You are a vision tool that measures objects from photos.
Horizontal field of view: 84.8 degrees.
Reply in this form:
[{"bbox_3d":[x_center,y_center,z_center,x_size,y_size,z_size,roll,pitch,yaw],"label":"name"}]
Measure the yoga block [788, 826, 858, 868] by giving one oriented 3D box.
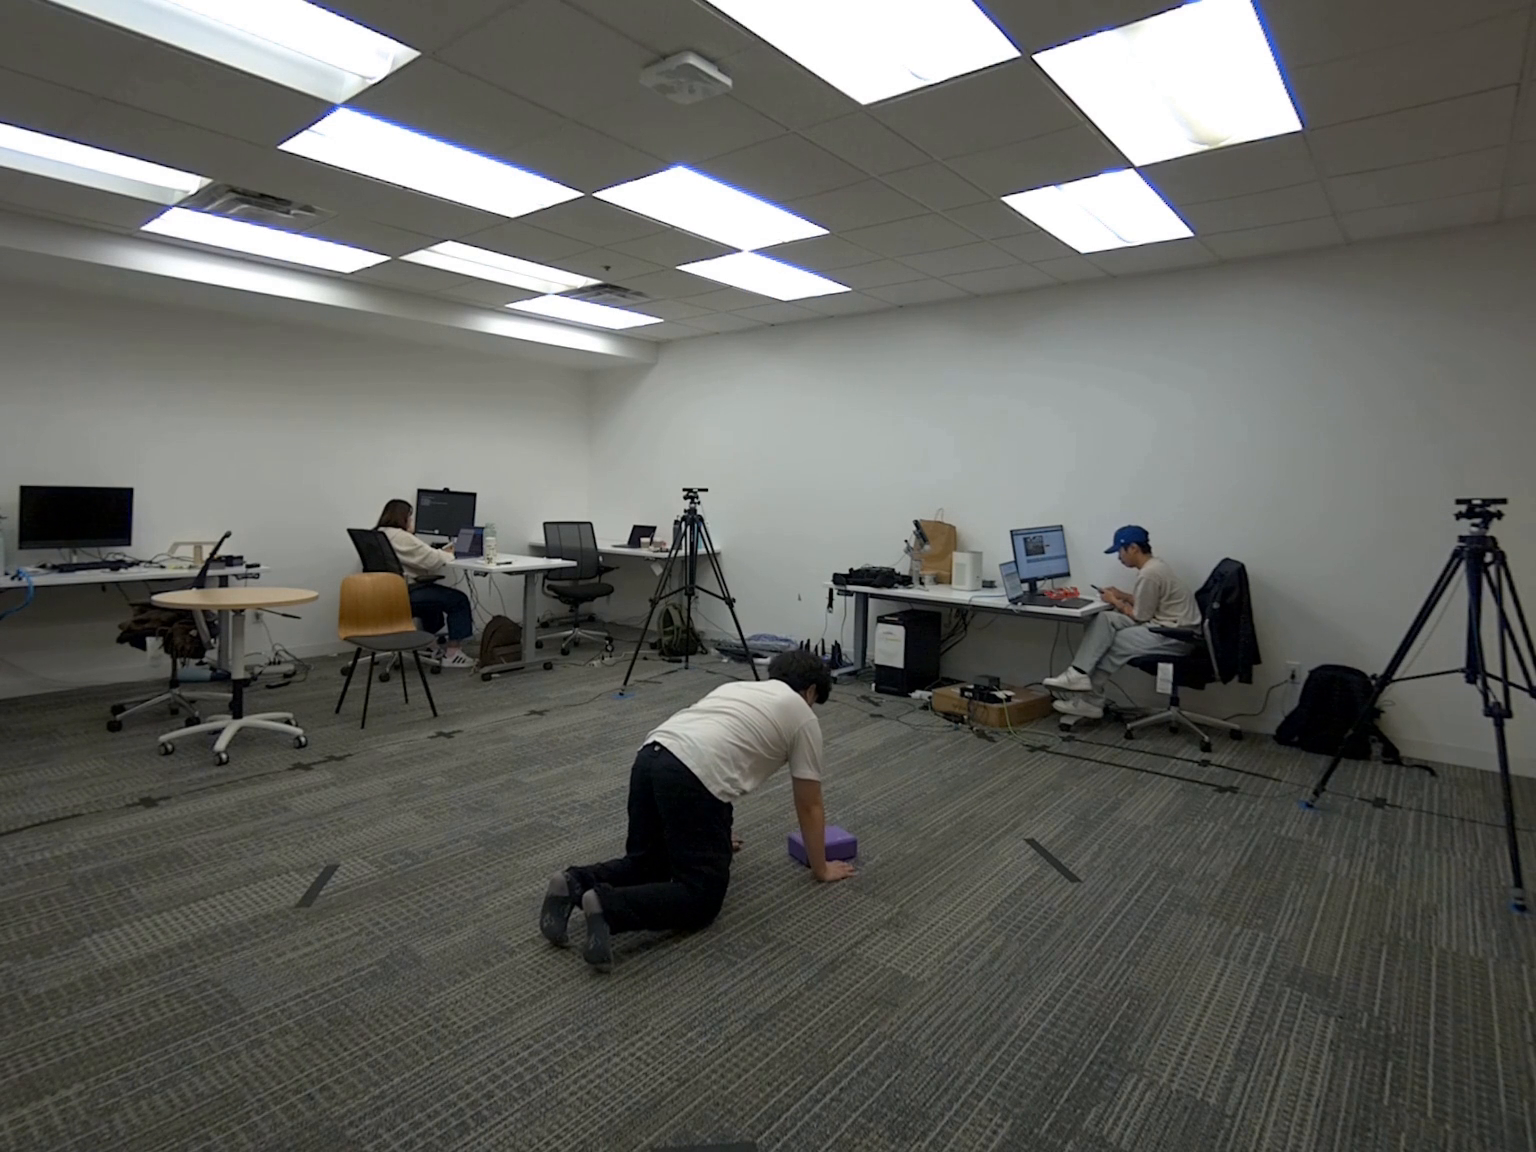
[{"bbox_3d":[0.203,1.027,3.249,0.223,0.076,0.153,-2,5,-29],"label":"yoga block"}]
